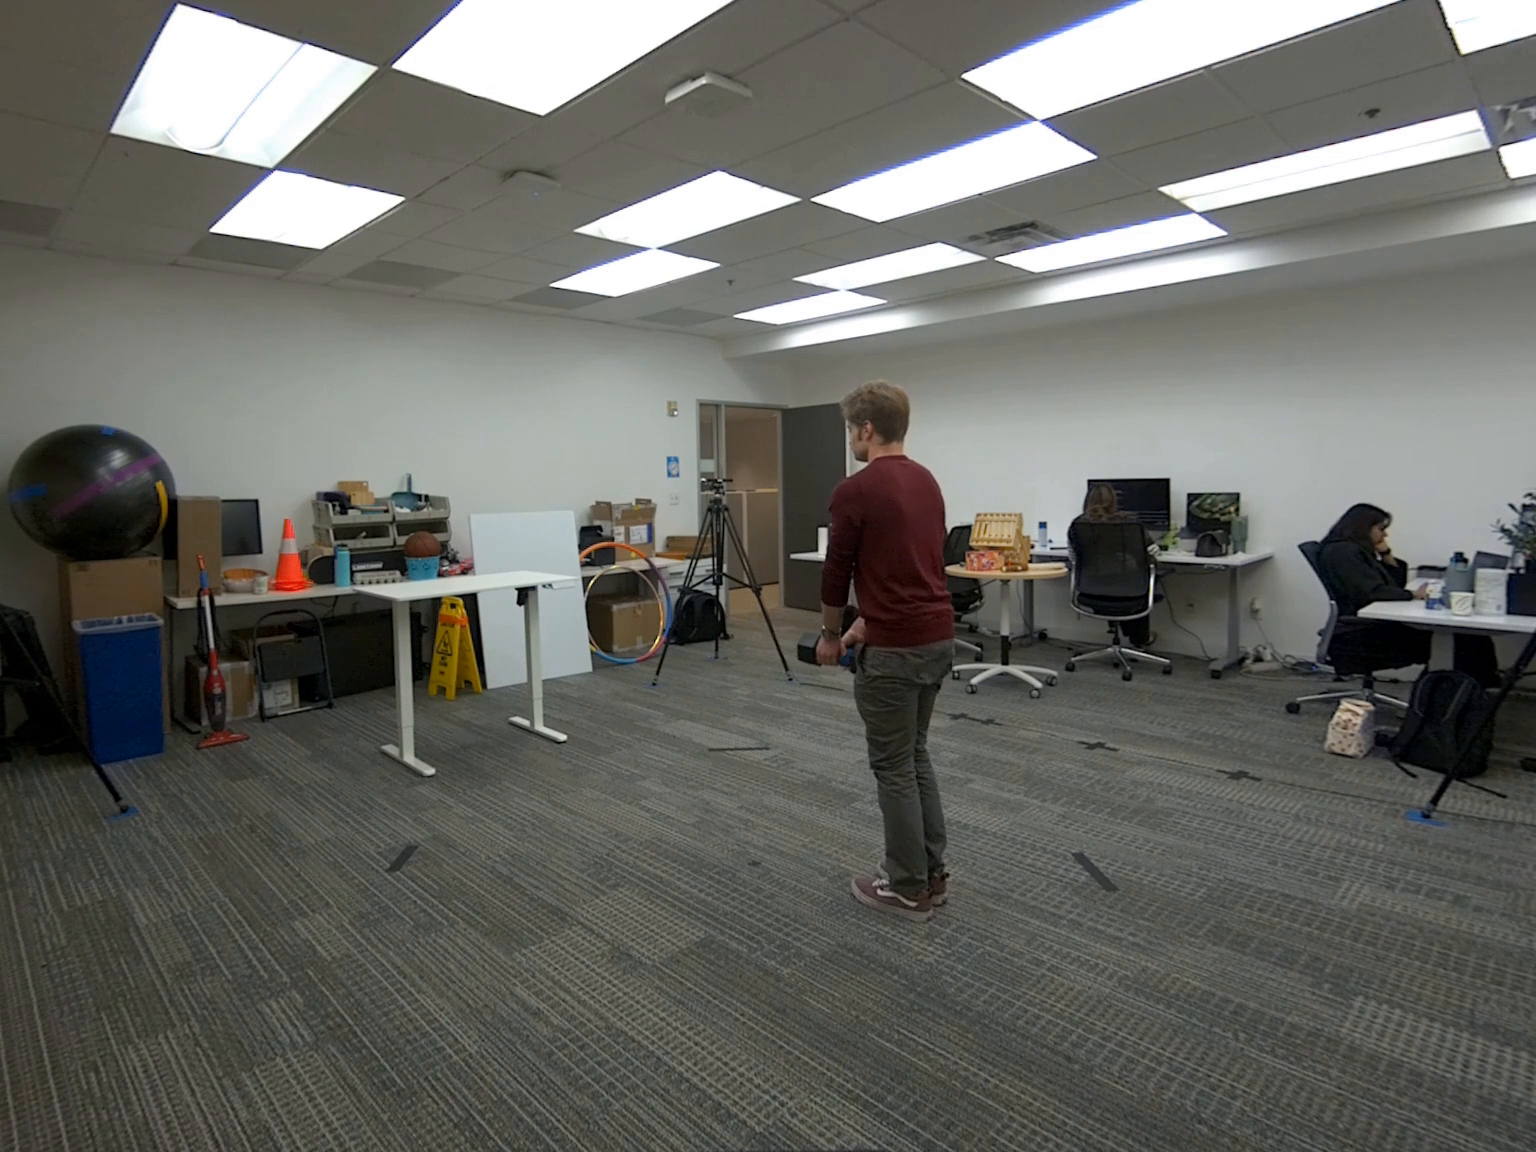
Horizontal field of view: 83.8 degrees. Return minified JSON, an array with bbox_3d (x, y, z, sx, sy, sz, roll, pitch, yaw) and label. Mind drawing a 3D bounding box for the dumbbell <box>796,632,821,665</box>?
[{"bbox_3d":[0.245,0.274,3.012,0.303,0.105,0.123,11,51,37],"label":"dumbbell"}]
